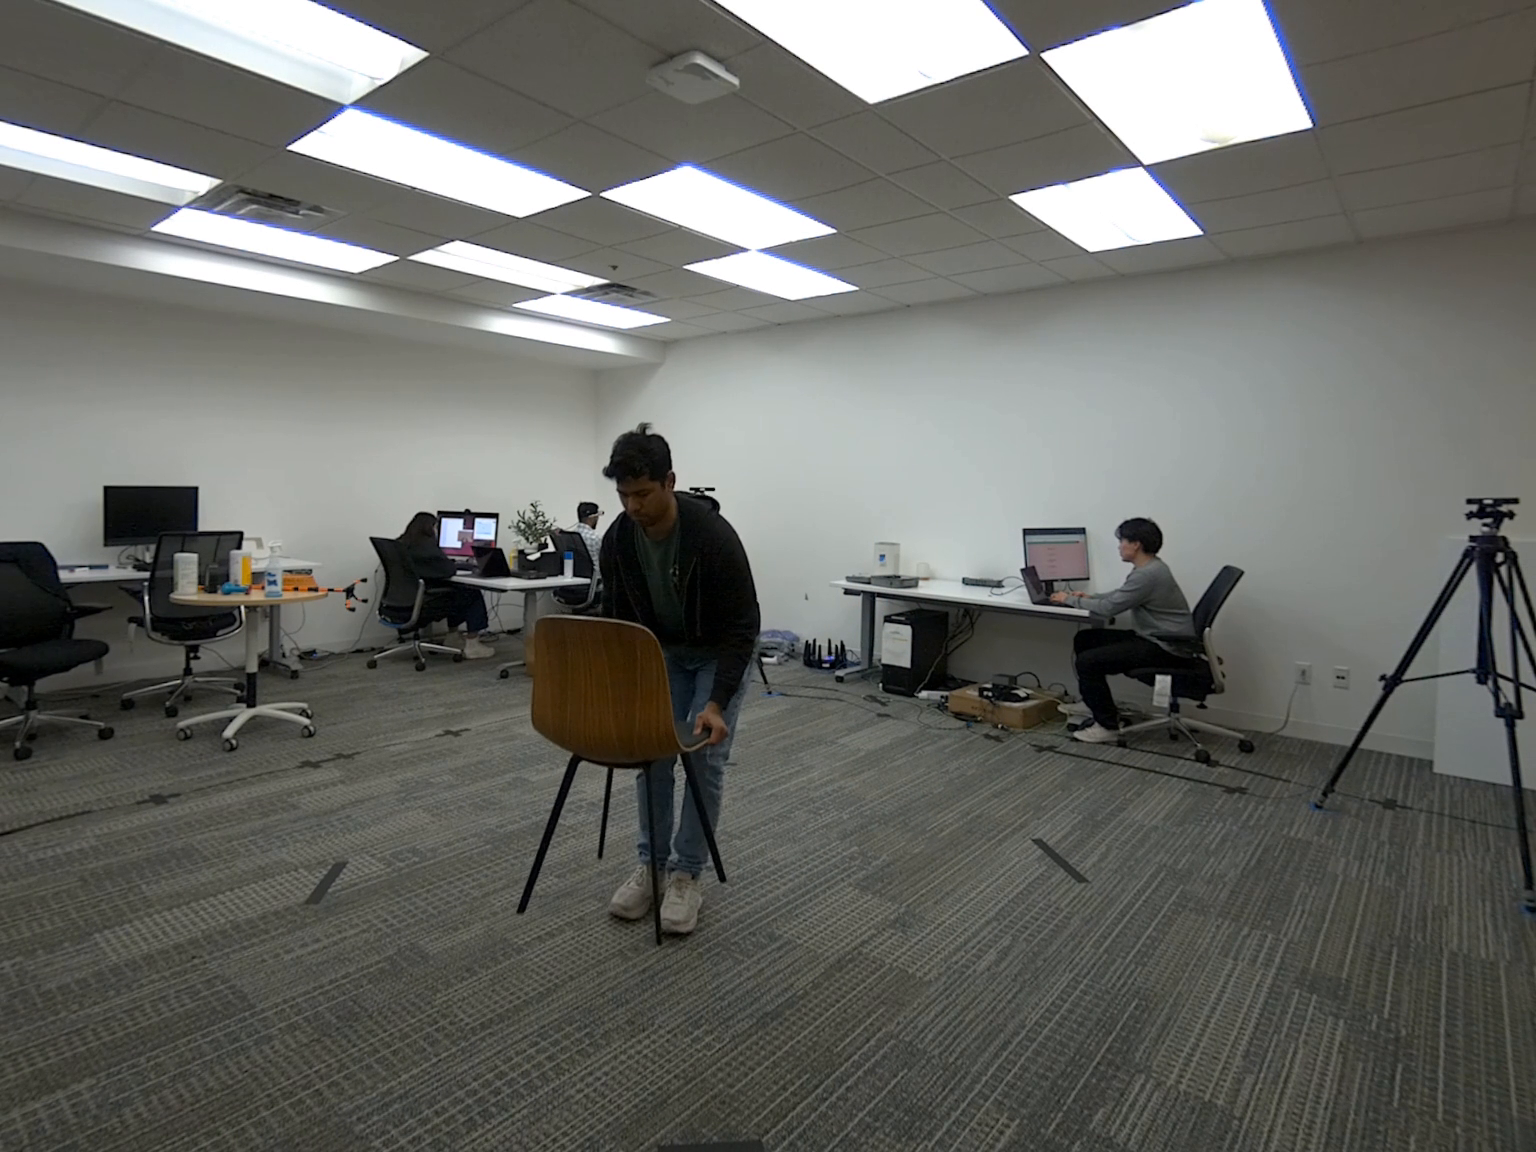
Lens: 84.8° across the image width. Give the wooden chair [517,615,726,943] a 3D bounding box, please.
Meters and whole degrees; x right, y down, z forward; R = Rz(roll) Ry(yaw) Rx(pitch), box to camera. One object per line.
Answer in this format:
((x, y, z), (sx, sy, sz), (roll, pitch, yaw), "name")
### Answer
((-0.411, 0.510, 2.496), (0.489, 0.874, 0.513), (1, 4, 21), "wooden chair")
